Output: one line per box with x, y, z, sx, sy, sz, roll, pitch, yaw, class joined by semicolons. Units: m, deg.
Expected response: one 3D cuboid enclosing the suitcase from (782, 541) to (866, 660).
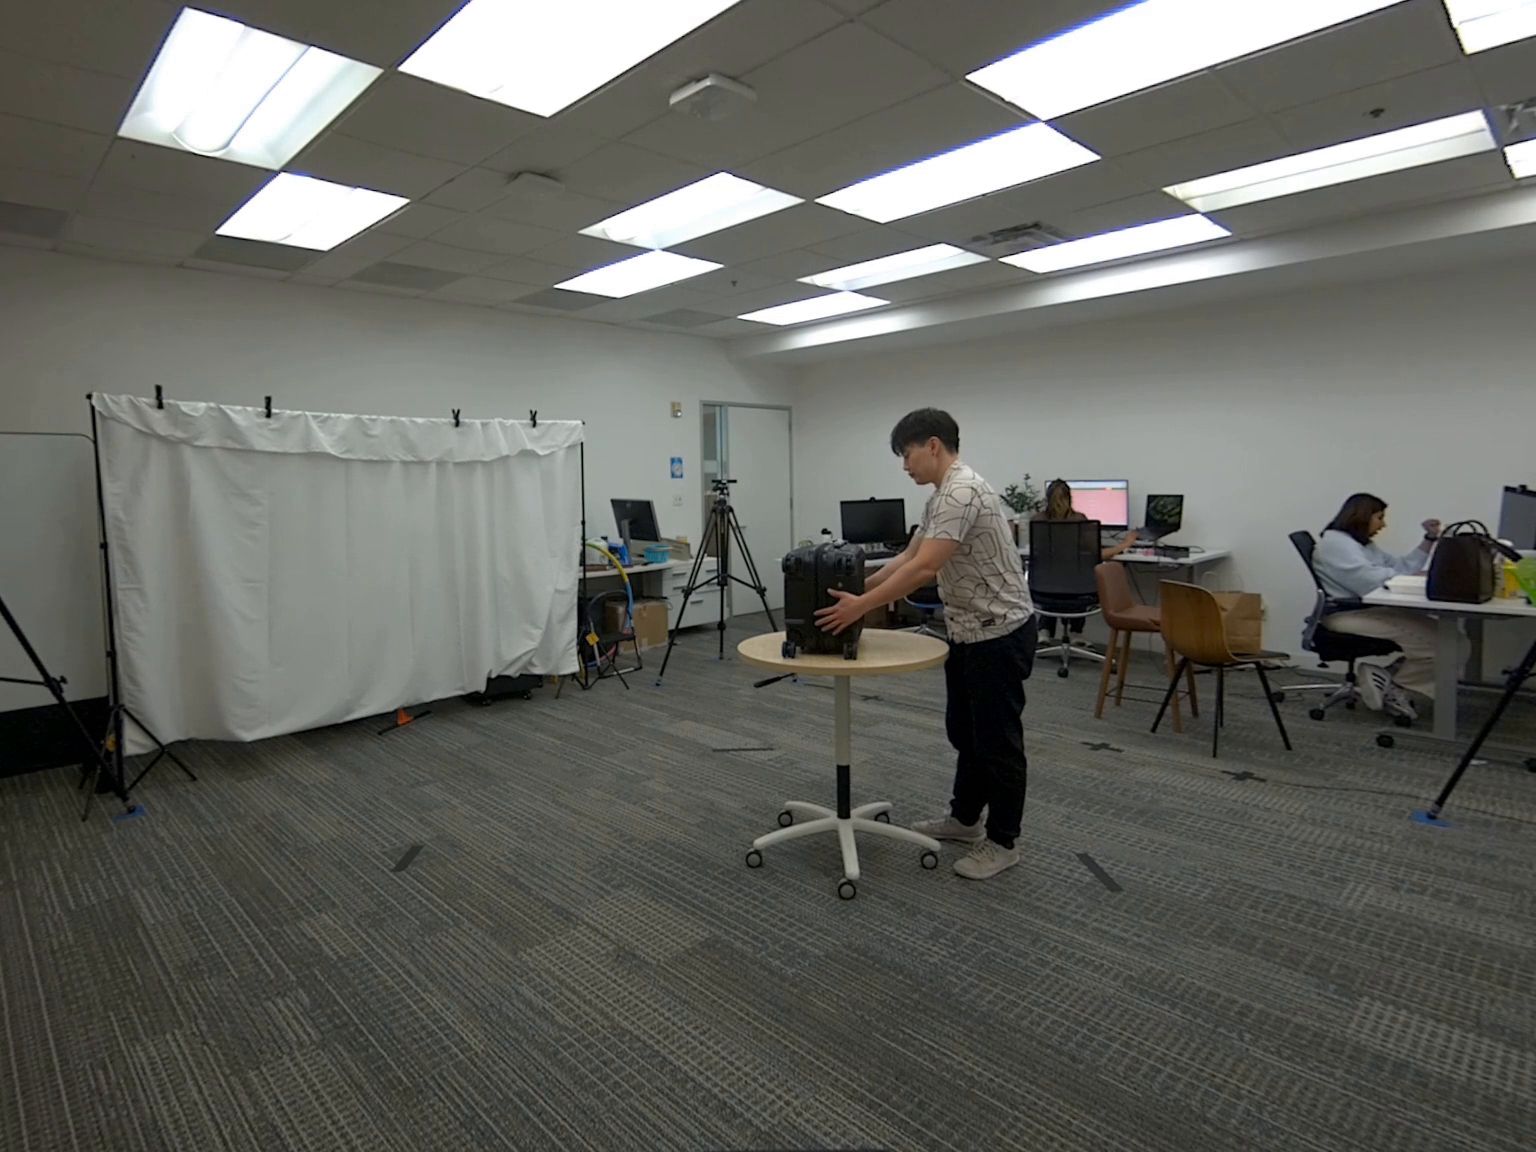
0.218;0.062;3.153;0.251;0.374;0.545;0;6;11;suitcase
